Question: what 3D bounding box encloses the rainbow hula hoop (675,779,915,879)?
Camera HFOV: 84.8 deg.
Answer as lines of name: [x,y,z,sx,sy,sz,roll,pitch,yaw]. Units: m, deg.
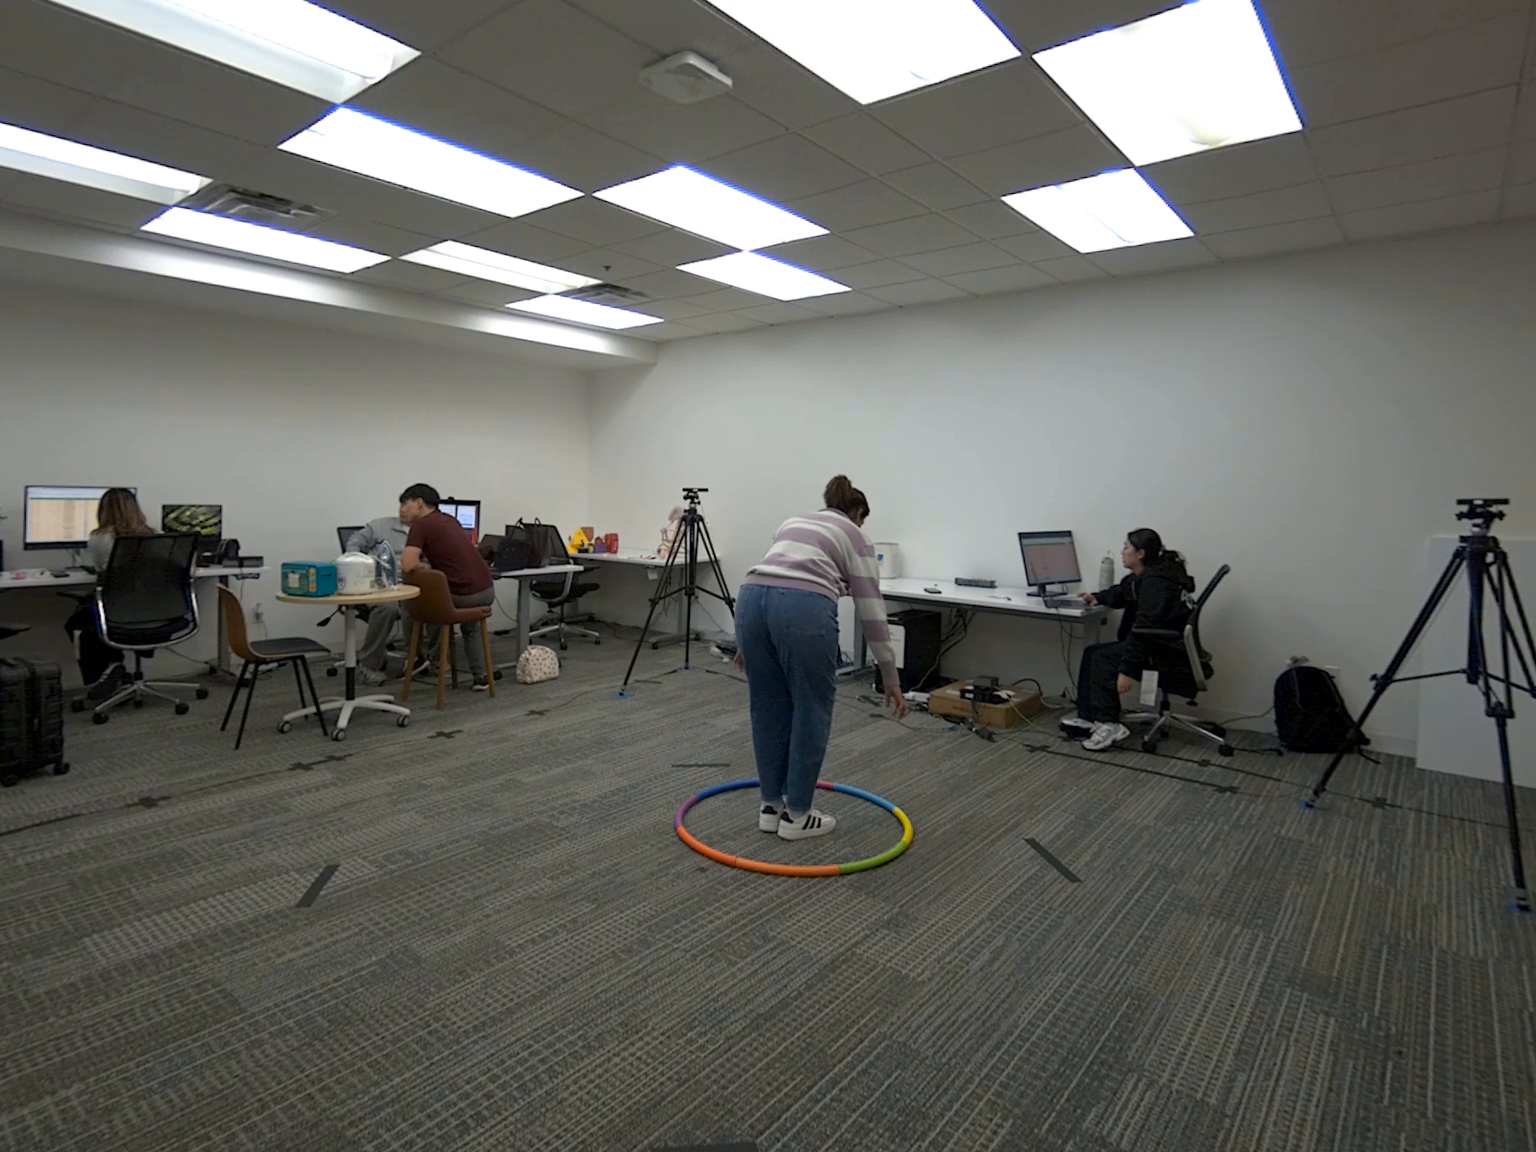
rainbow hula hoop: [0.094,1.004,3.543,0.978,0.035,0.984,1,6,-2]
